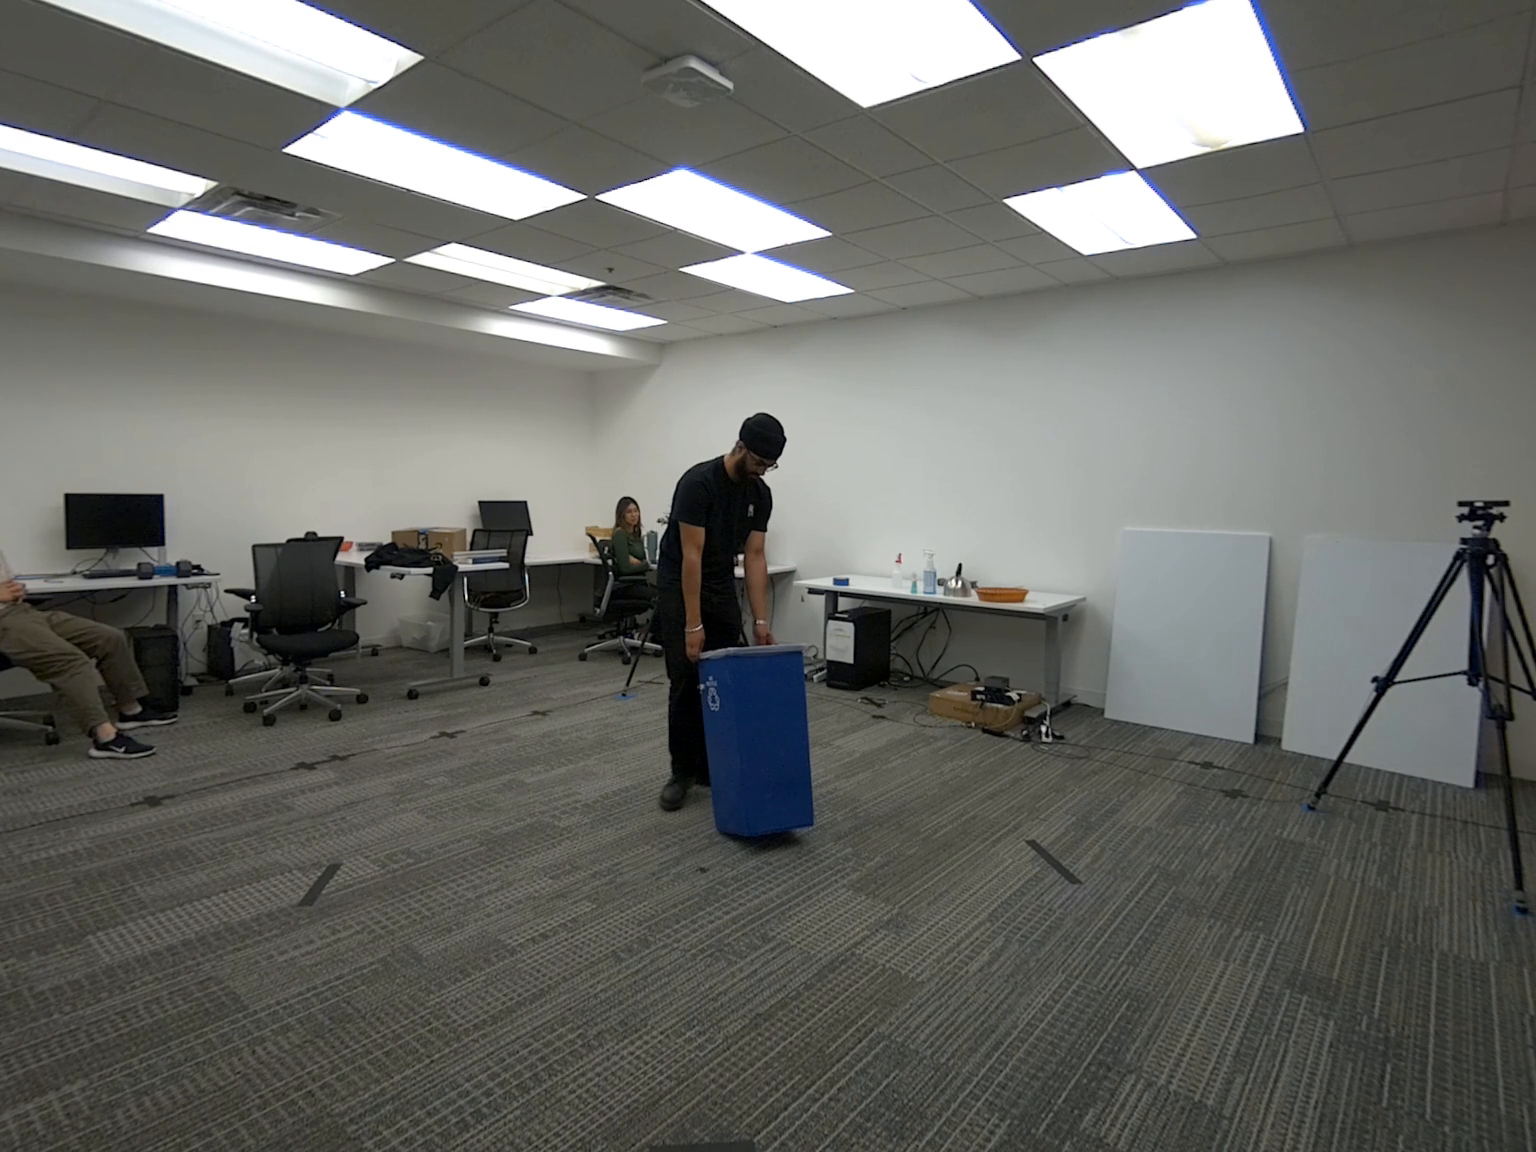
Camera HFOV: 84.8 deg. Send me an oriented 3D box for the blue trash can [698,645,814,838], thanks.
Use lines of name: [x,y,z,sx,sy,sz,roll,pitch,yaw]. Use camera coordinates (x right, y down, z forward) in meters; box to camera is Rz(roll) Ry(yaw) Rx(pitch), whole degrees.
blue trash can: [-0.066,0.657,3.493,0.368,0.721,0.380,0,-10,-28]
